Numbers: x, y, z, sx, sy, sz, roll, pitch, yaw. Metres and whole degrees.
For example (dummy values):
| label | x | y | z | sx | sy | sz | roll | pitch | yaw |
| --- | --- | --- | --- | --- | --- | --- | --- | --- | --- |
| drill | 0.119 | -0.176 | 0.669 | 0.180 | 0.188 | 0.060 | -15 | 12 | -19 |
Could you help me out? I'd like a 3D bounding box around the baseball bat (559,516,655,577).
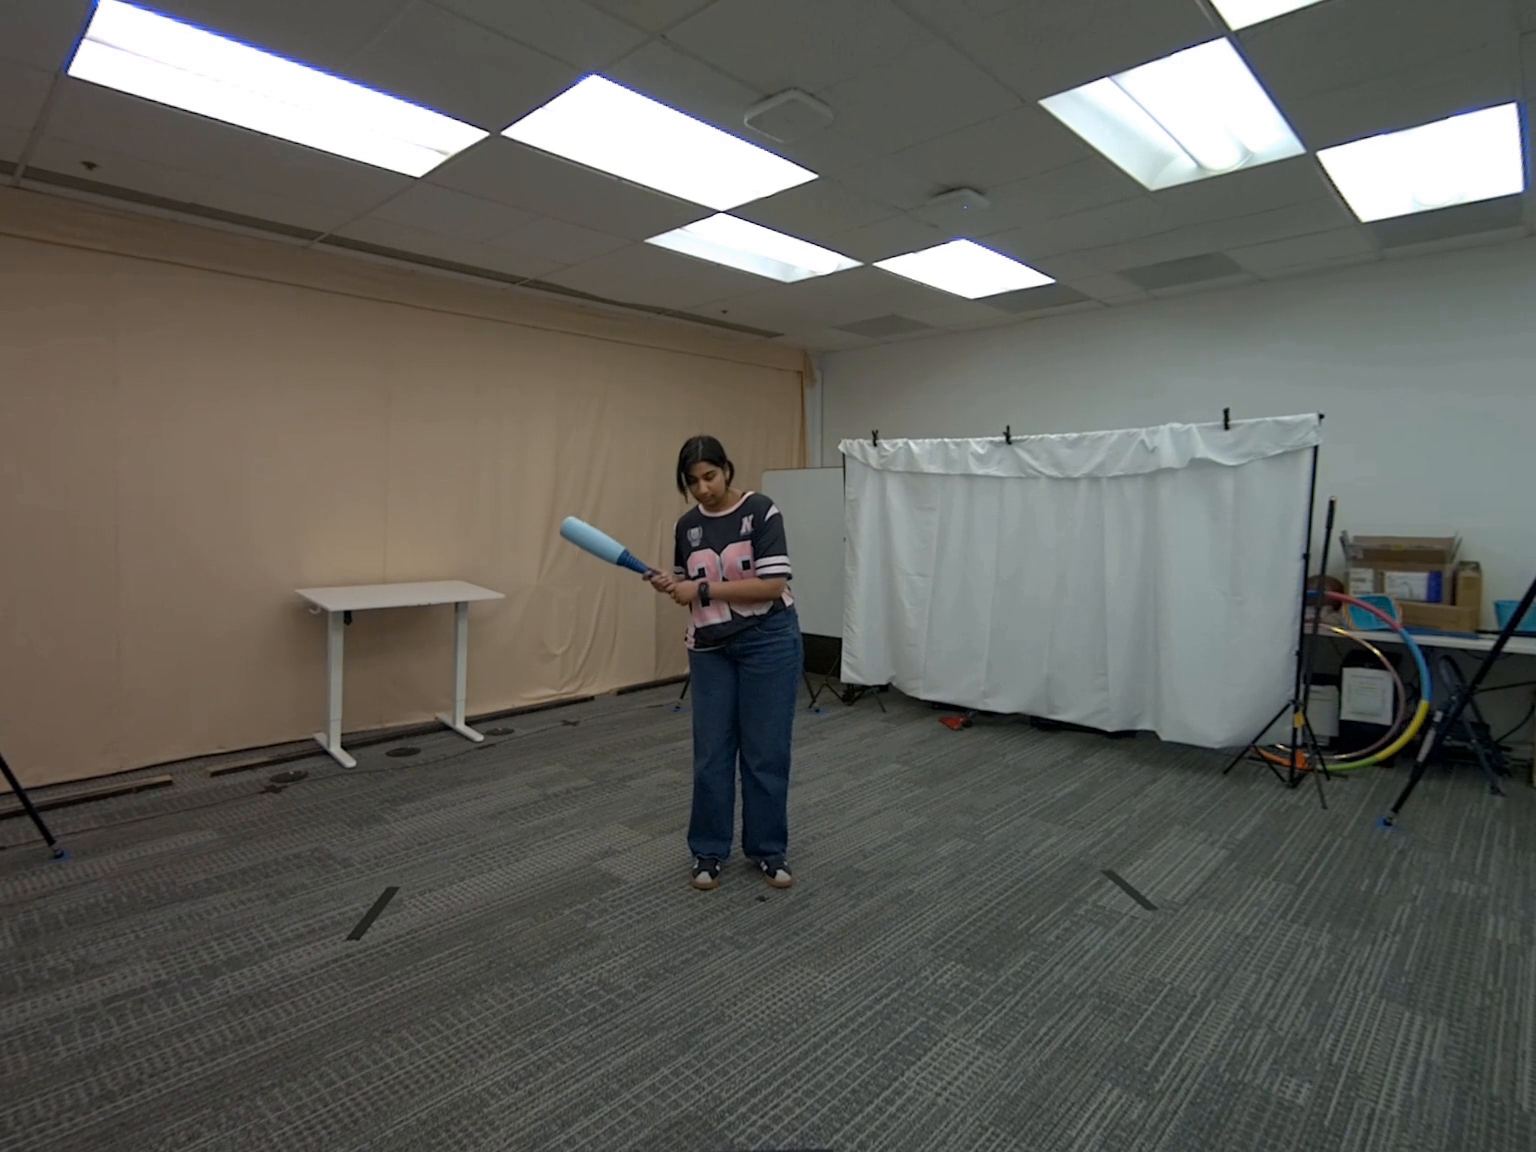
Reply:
| label | x | y | z | sx | sy | sz | roll | pitch | yaw |
| --- | --- | --- | --- | --- | --- | --- | --- | --- | --- |
| baseball bat | -0.517 | -0.034 | 3.077 | 0.548 | 0.089 | 0.088 | 30 | 7 | 7 |
